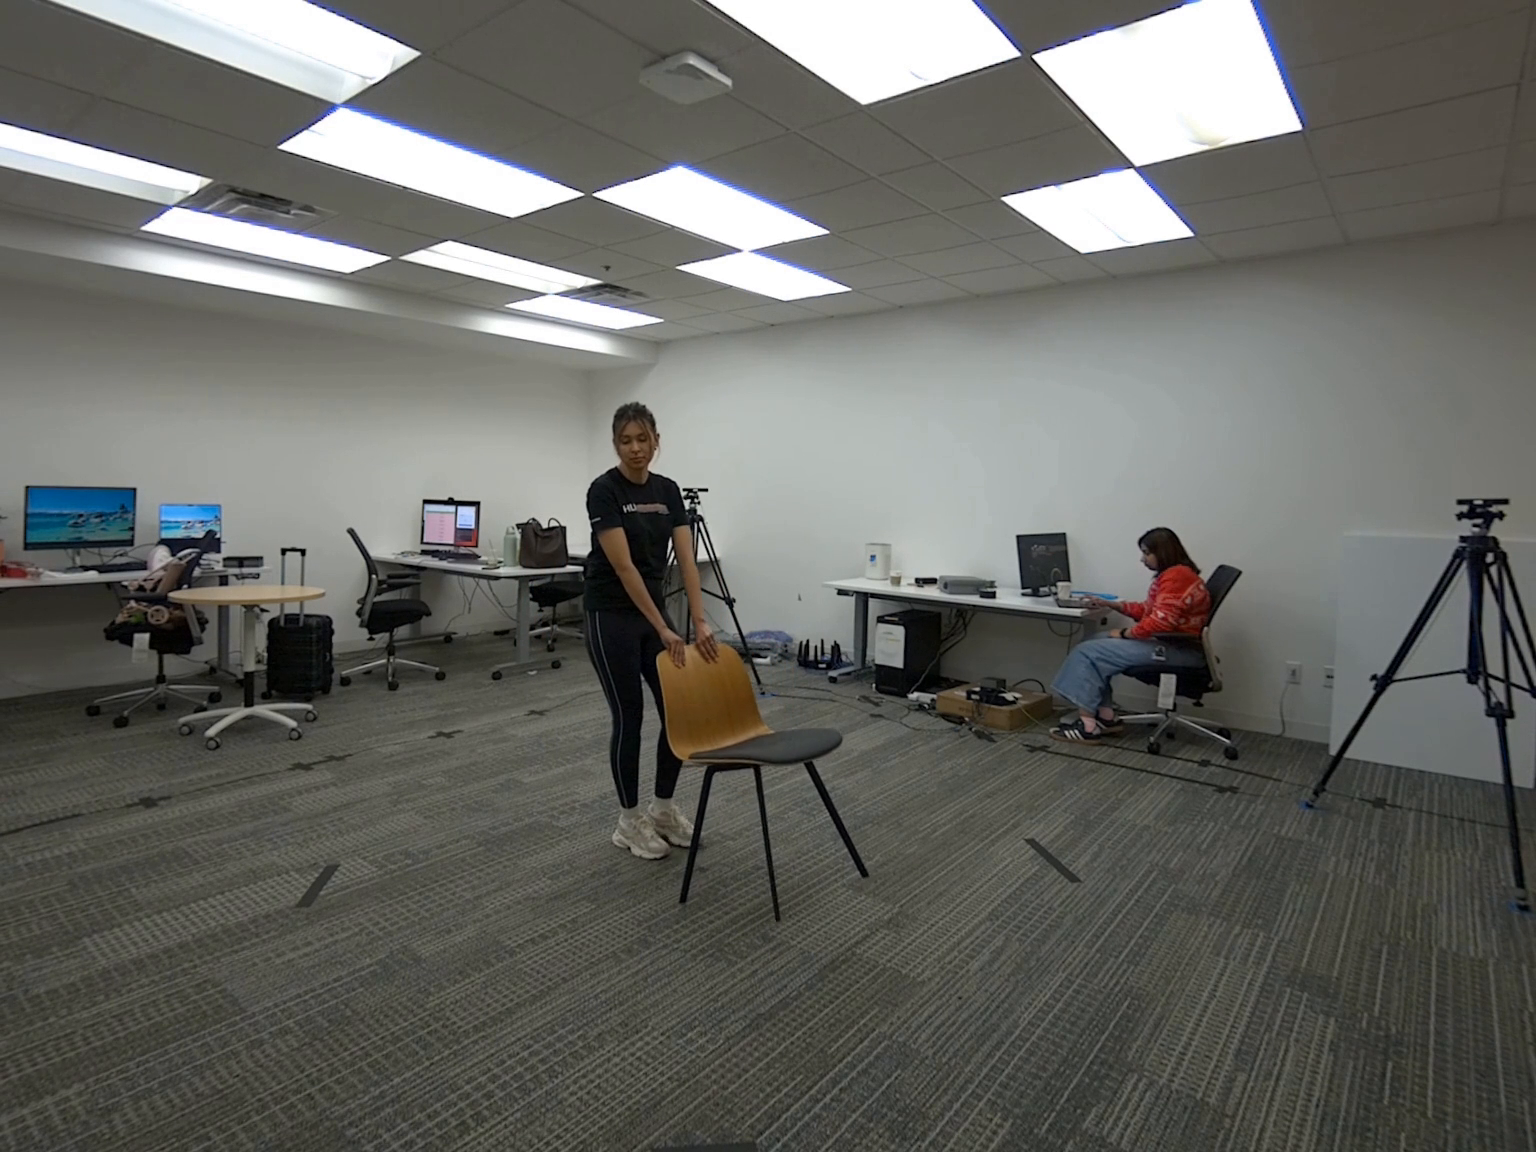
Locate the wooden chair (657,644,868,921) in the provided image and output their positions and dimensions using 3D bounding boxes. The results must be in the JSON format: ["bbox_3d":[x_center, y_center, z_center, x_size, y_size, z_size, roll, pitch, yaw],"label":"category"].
[{"bbox_3d":[-0.045,0.628,2.879,0.463,0.888,0.533,-2,-13,-45],"label":"wooden chair"}]
